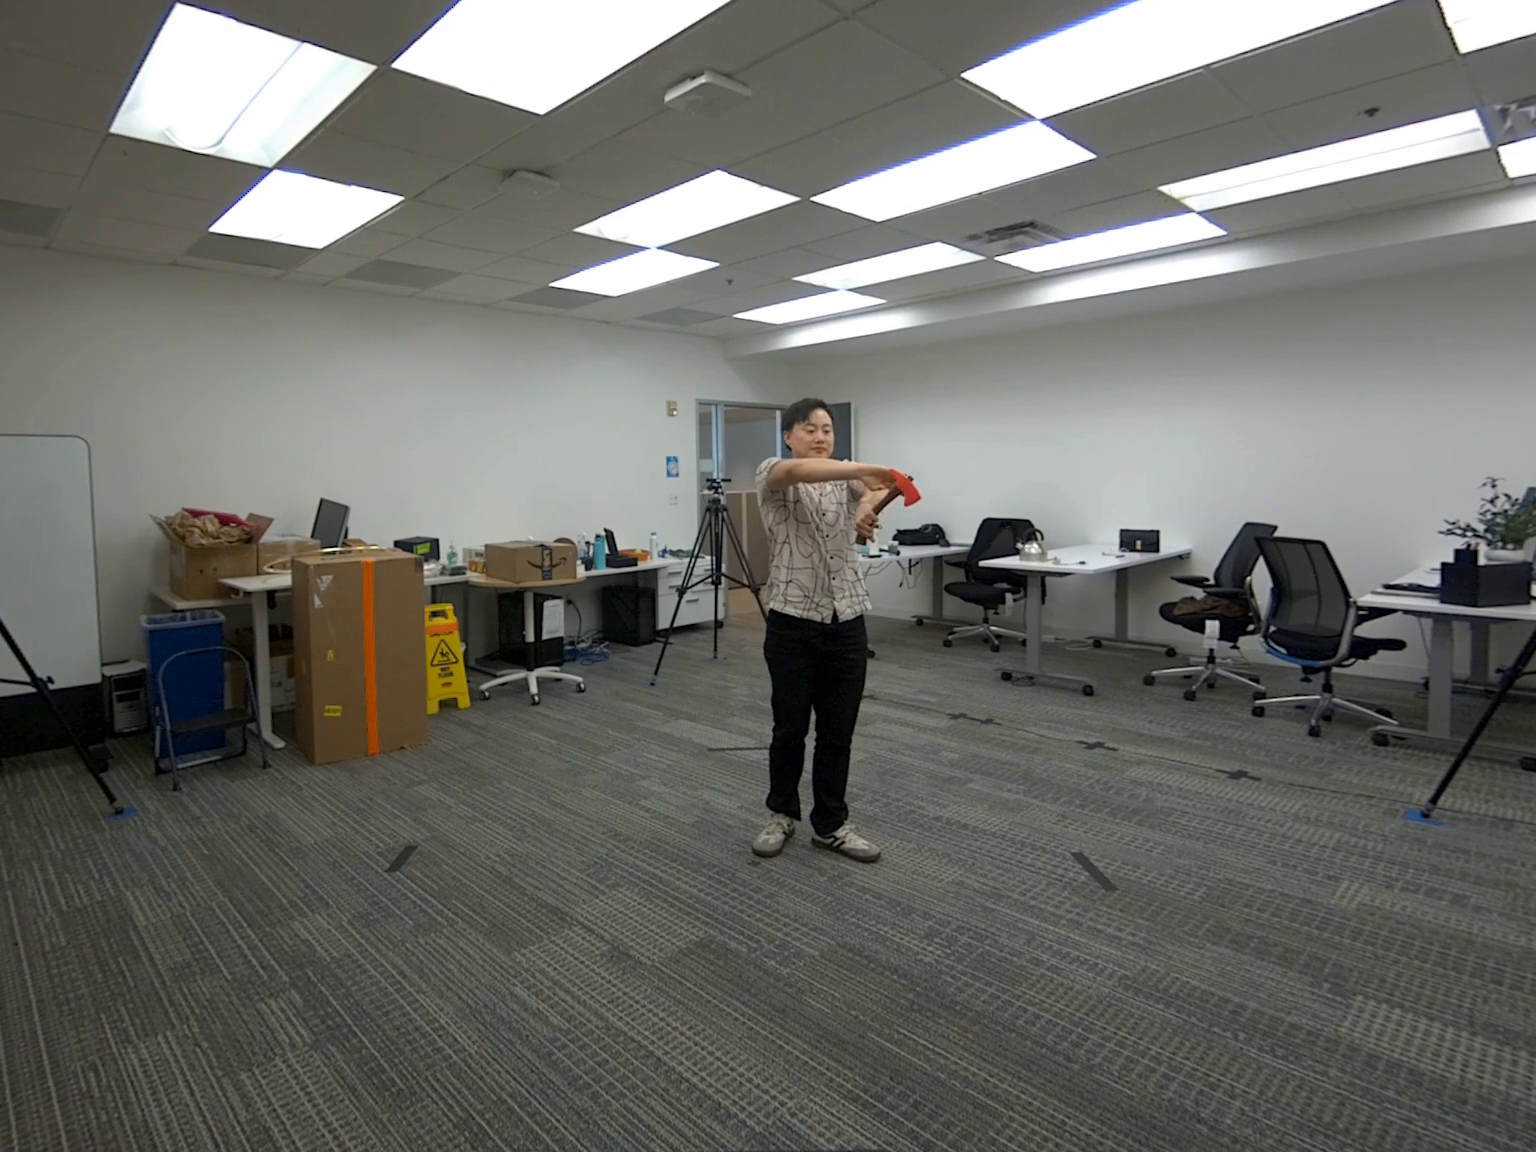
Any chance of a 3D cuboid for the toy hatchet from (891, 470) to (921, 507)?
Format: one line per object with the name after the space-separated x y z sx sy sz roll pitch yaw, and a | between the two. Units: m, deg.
0.390 -0.201 2.713 0.133 0.269 0.029 30 13 12 | toy hatchet
